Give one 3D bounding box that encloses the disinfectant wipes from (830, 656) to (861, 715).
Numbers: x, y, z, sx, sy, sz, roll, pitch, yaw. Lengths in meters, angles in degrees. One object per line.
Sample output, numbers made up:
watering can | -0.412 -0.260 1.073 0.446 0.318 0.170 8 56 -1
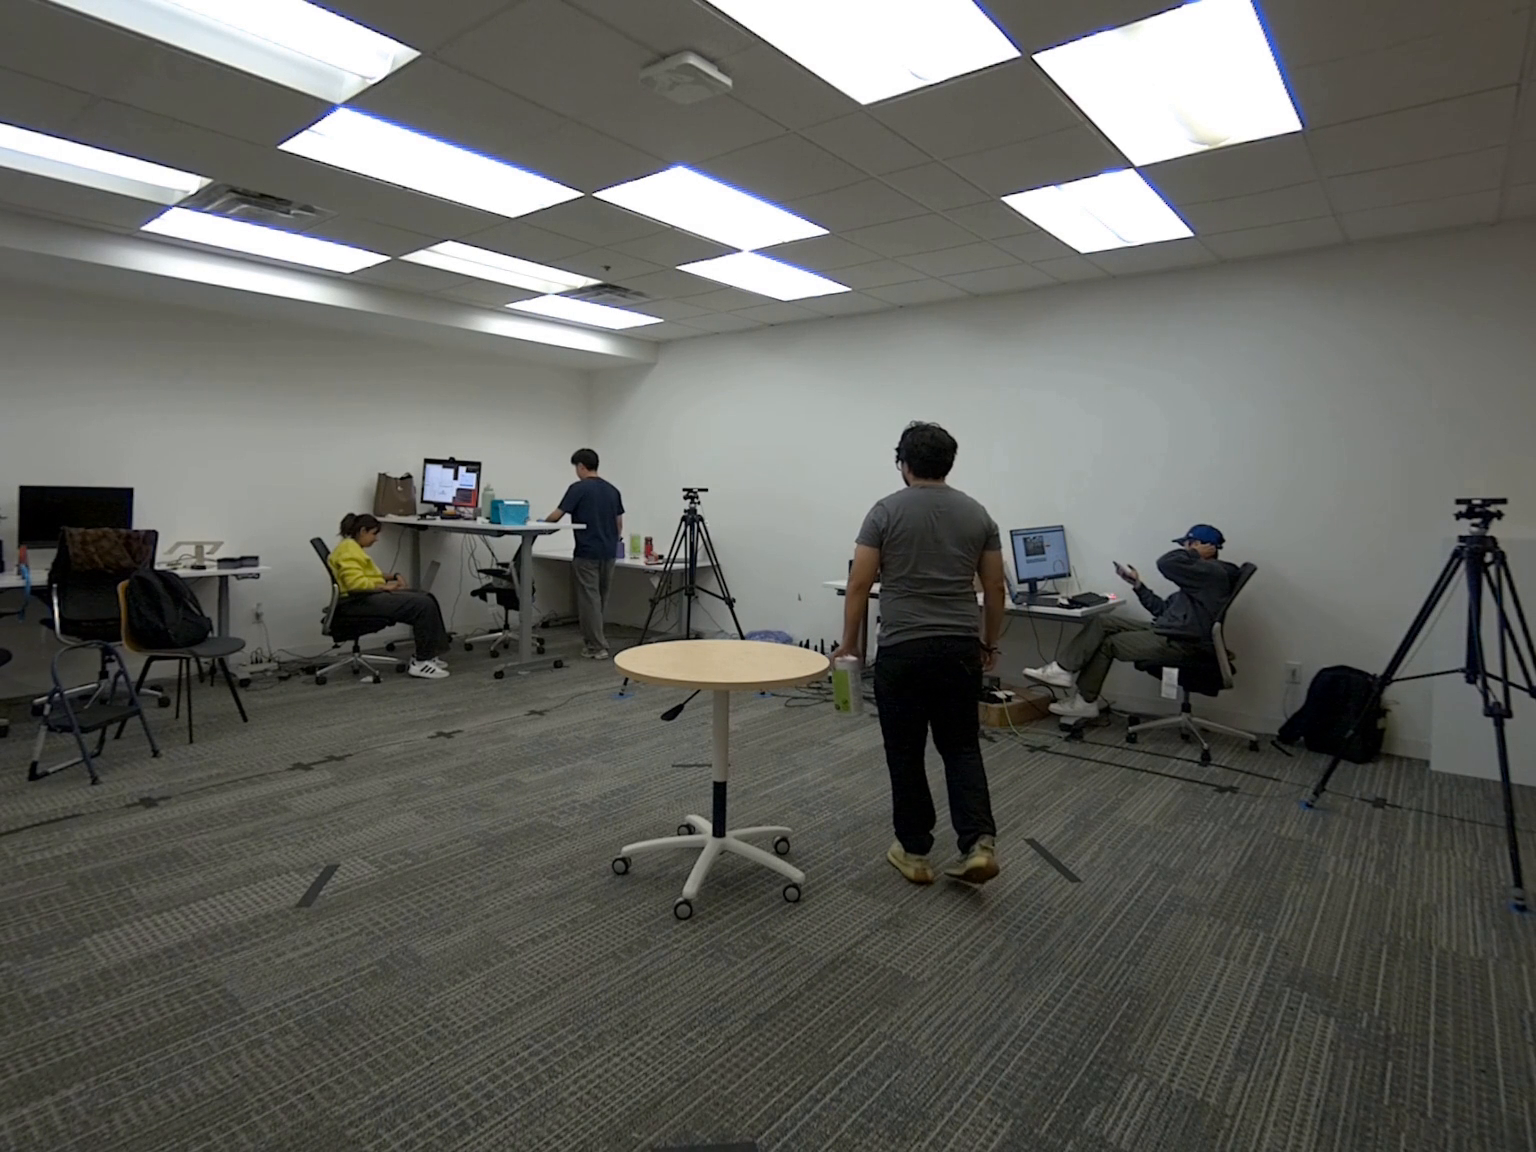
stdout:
disinfectant wipes | 0.295 0.427 3.268 0.118 0.216 0.119 -5 7 -1
